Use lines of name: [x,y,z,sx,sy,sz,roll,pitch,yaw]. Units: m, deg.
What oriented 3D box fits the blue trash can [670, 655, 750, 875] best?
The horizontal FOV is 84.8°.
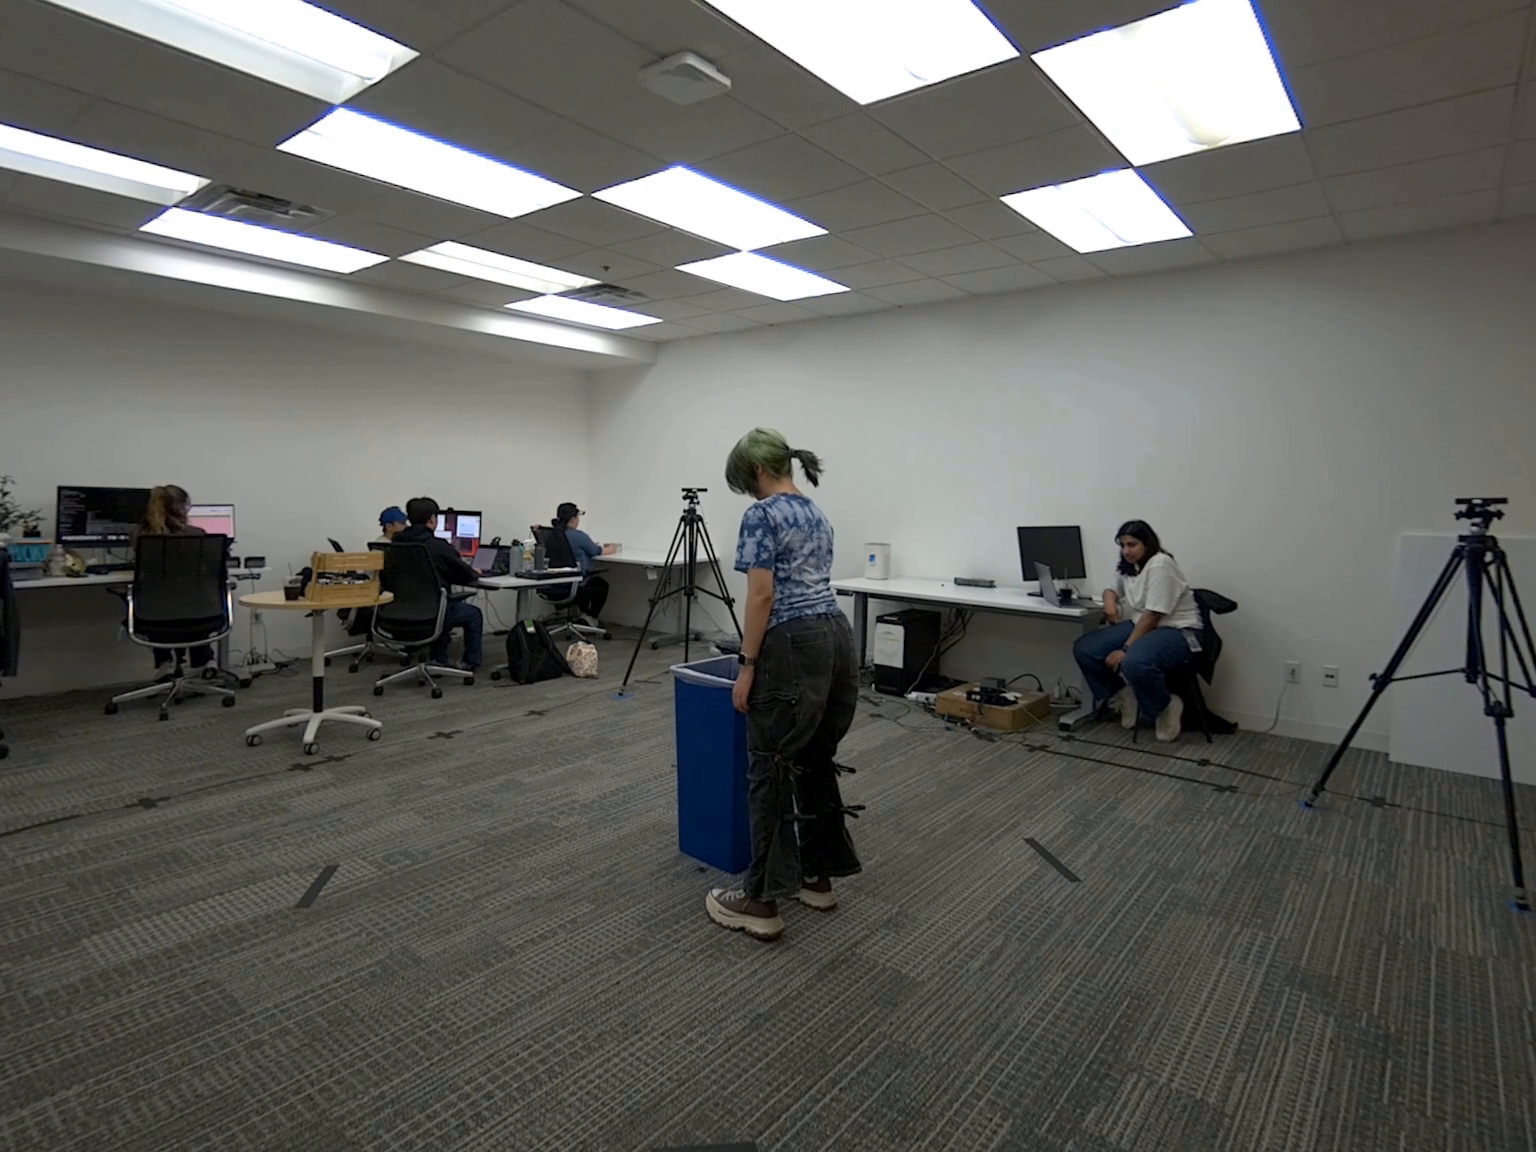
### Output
blue trash can: [-0.146,0.699,3.251,0.391,0.712,0.362,3,4,43]
